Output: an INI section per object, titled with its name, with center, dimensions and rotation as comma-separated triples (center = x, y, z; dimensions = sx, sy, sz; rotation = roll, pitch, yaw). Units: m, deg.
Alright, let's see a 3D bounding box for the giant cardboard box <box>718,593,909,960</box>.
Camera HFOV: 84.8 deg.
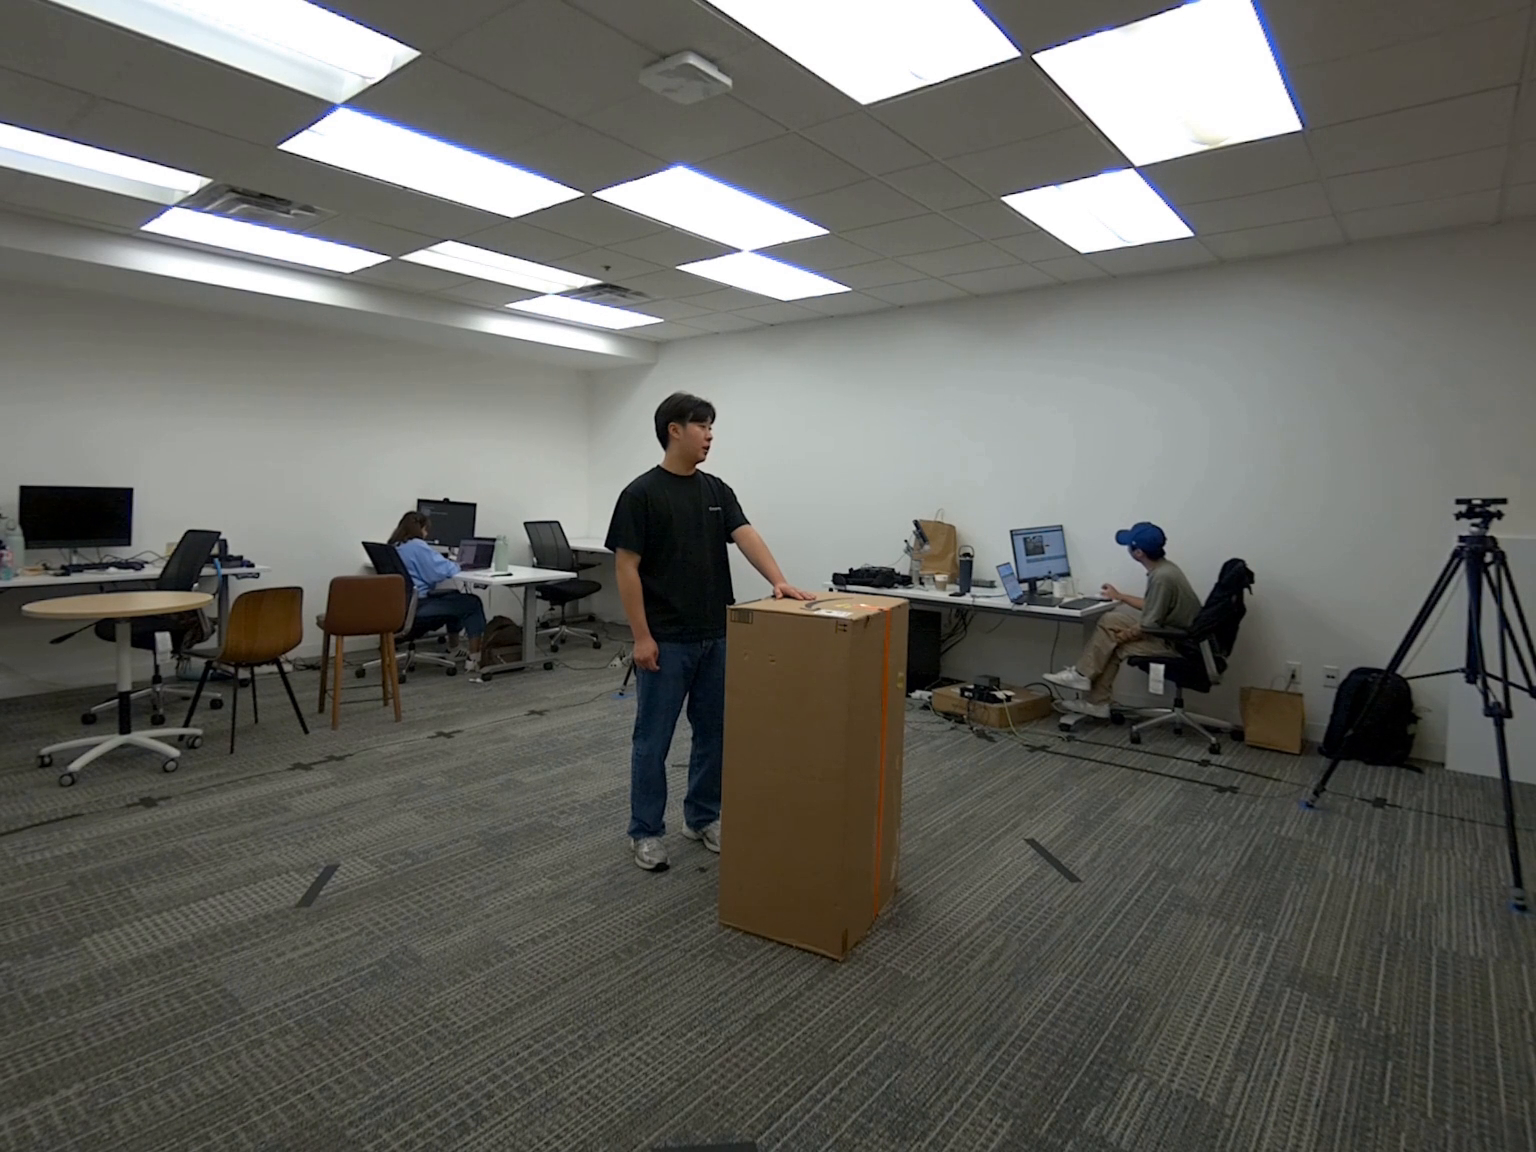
[giant cardboard box]
center = 0.162, 0.591, 2.835
dimensions = 0.460, 1.024, 0.569
rotation = 4, 4, 28
